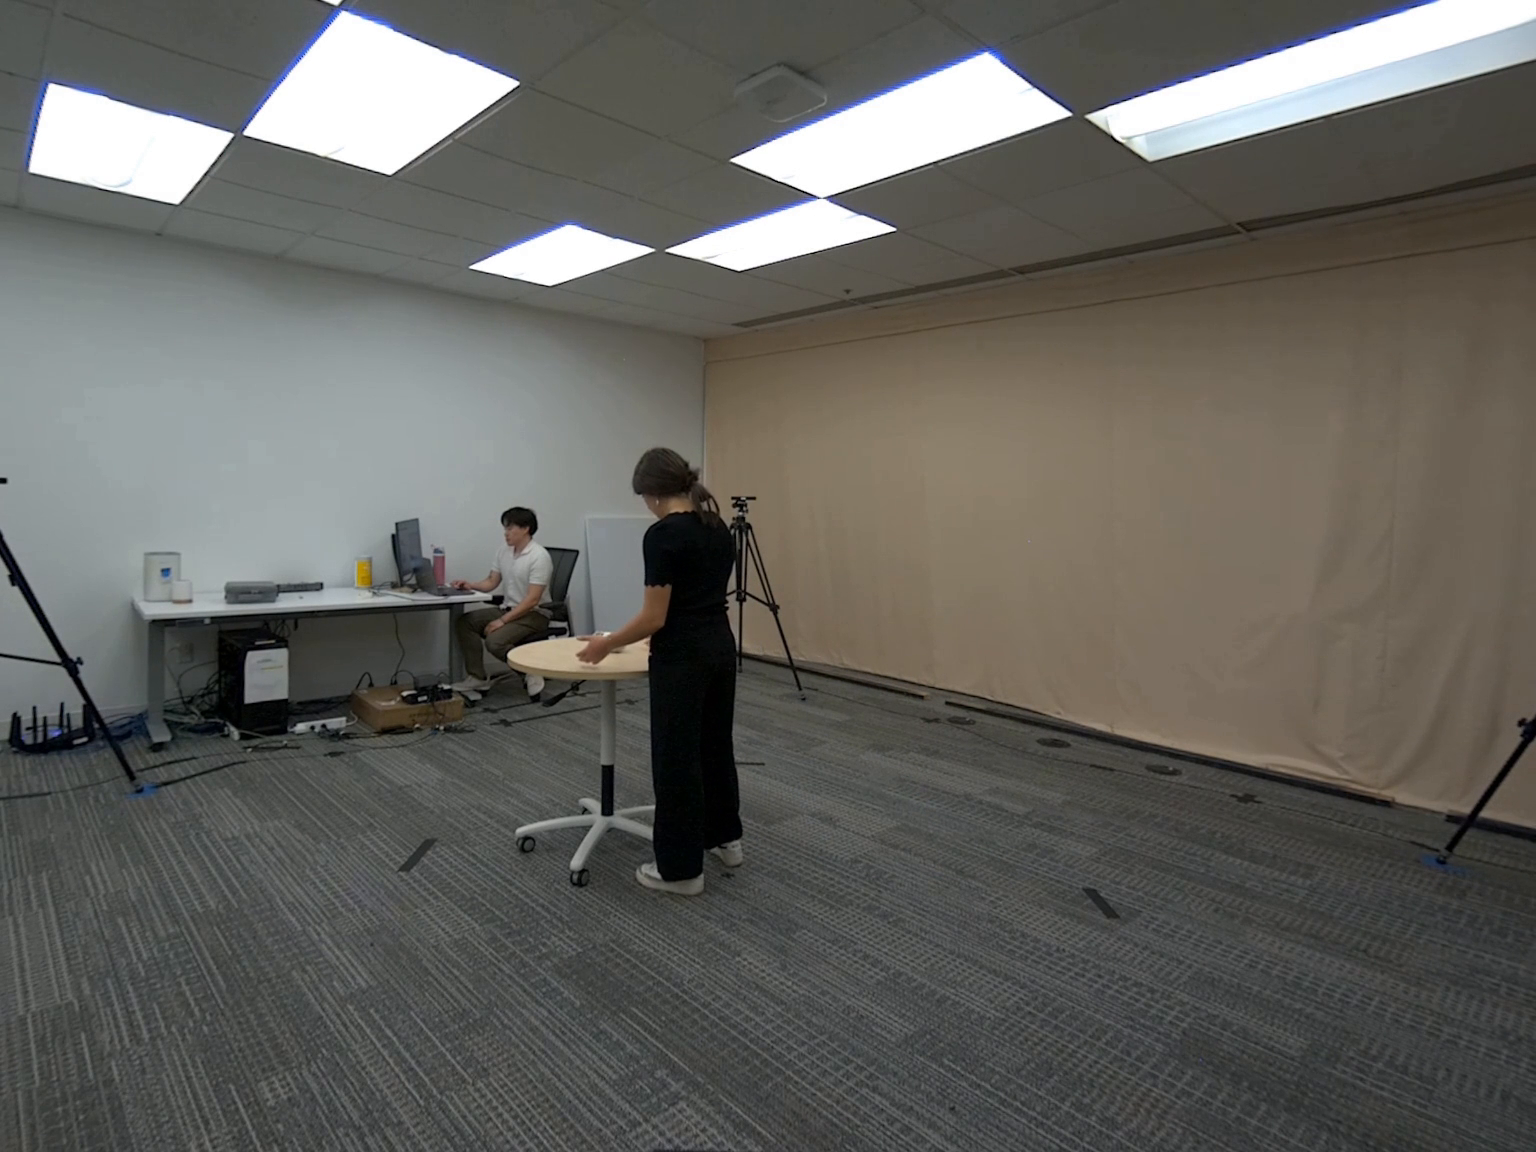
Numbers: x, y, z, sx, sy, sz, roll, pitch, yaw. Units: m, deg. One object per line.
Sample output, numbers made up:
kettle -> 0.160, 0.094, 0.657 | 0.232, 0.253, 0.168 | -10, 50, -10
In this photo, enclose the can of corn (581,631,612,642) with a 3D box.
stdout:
can of corn -> -0.624, 0.258, 3.278 | 0.113, 0.074, 0.073 | 3, 4, 21
